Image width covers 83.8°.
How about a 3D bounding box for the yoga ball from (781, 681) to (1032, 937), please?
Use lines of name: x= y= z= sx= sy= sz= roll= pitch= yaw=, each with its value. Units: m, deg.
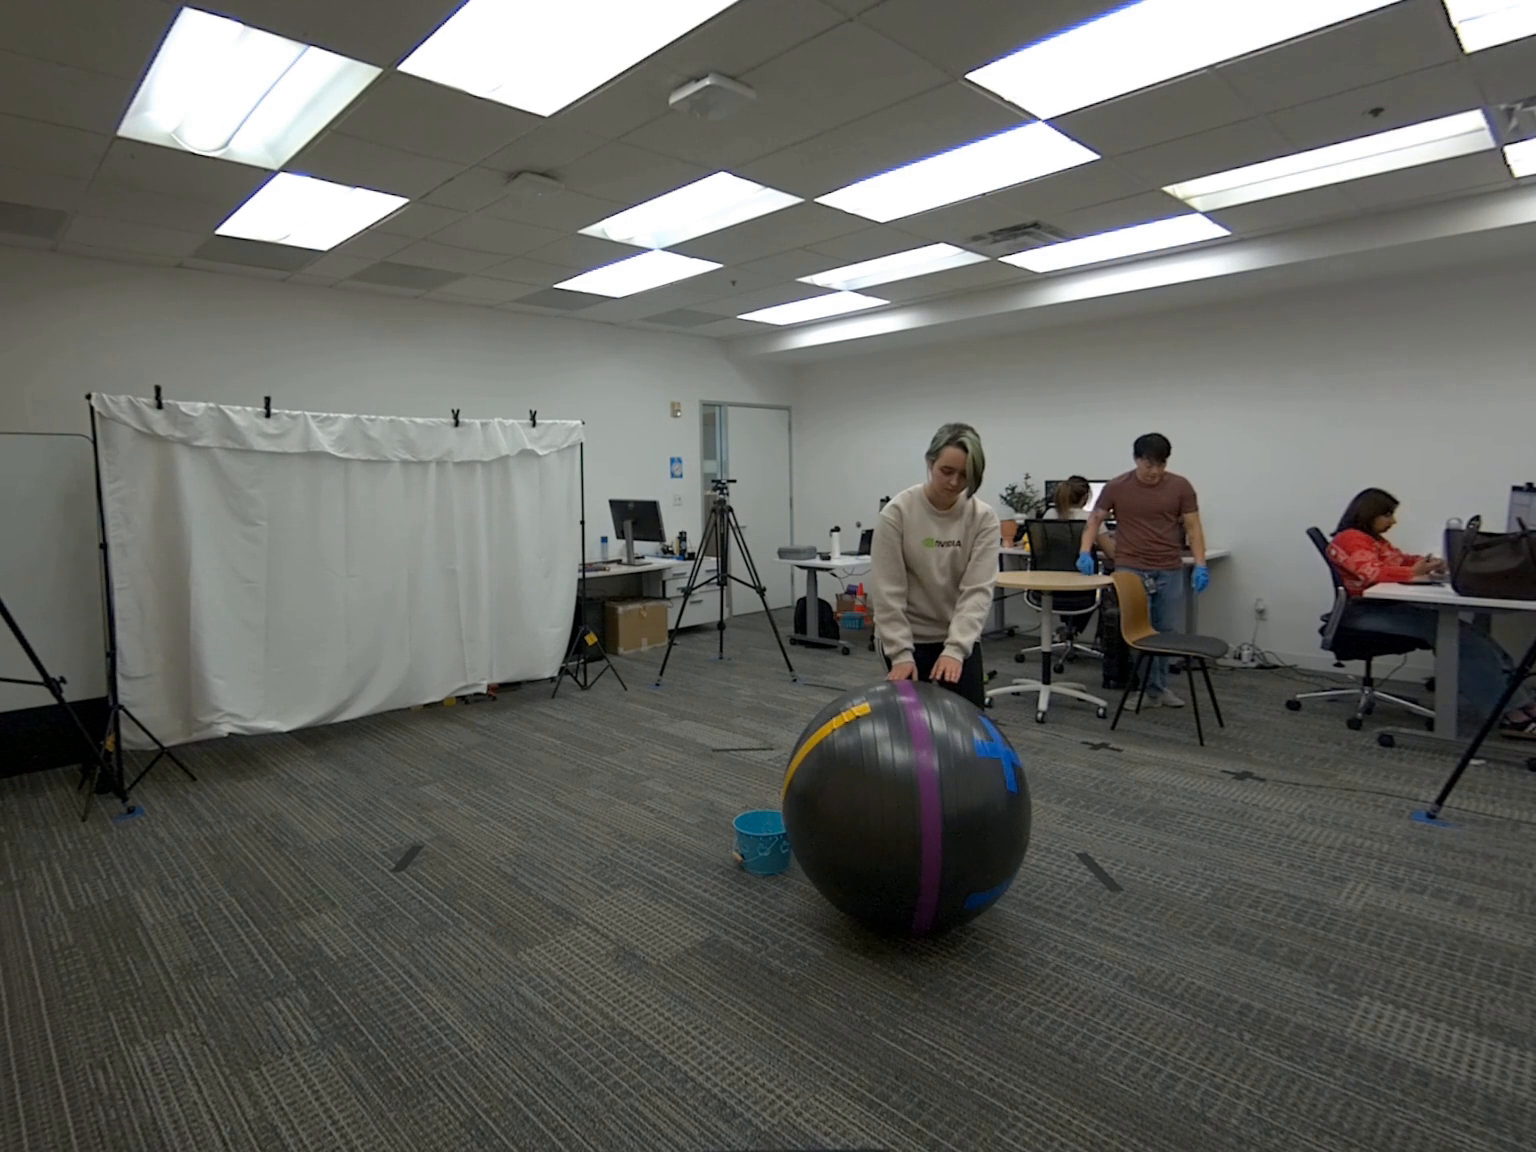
yoga ball: x=0.425 y=0.718 z=2.677 sx=0.757 sy=0.755 sz=0.762 roll=-1 pitch=5 yaw=-2
